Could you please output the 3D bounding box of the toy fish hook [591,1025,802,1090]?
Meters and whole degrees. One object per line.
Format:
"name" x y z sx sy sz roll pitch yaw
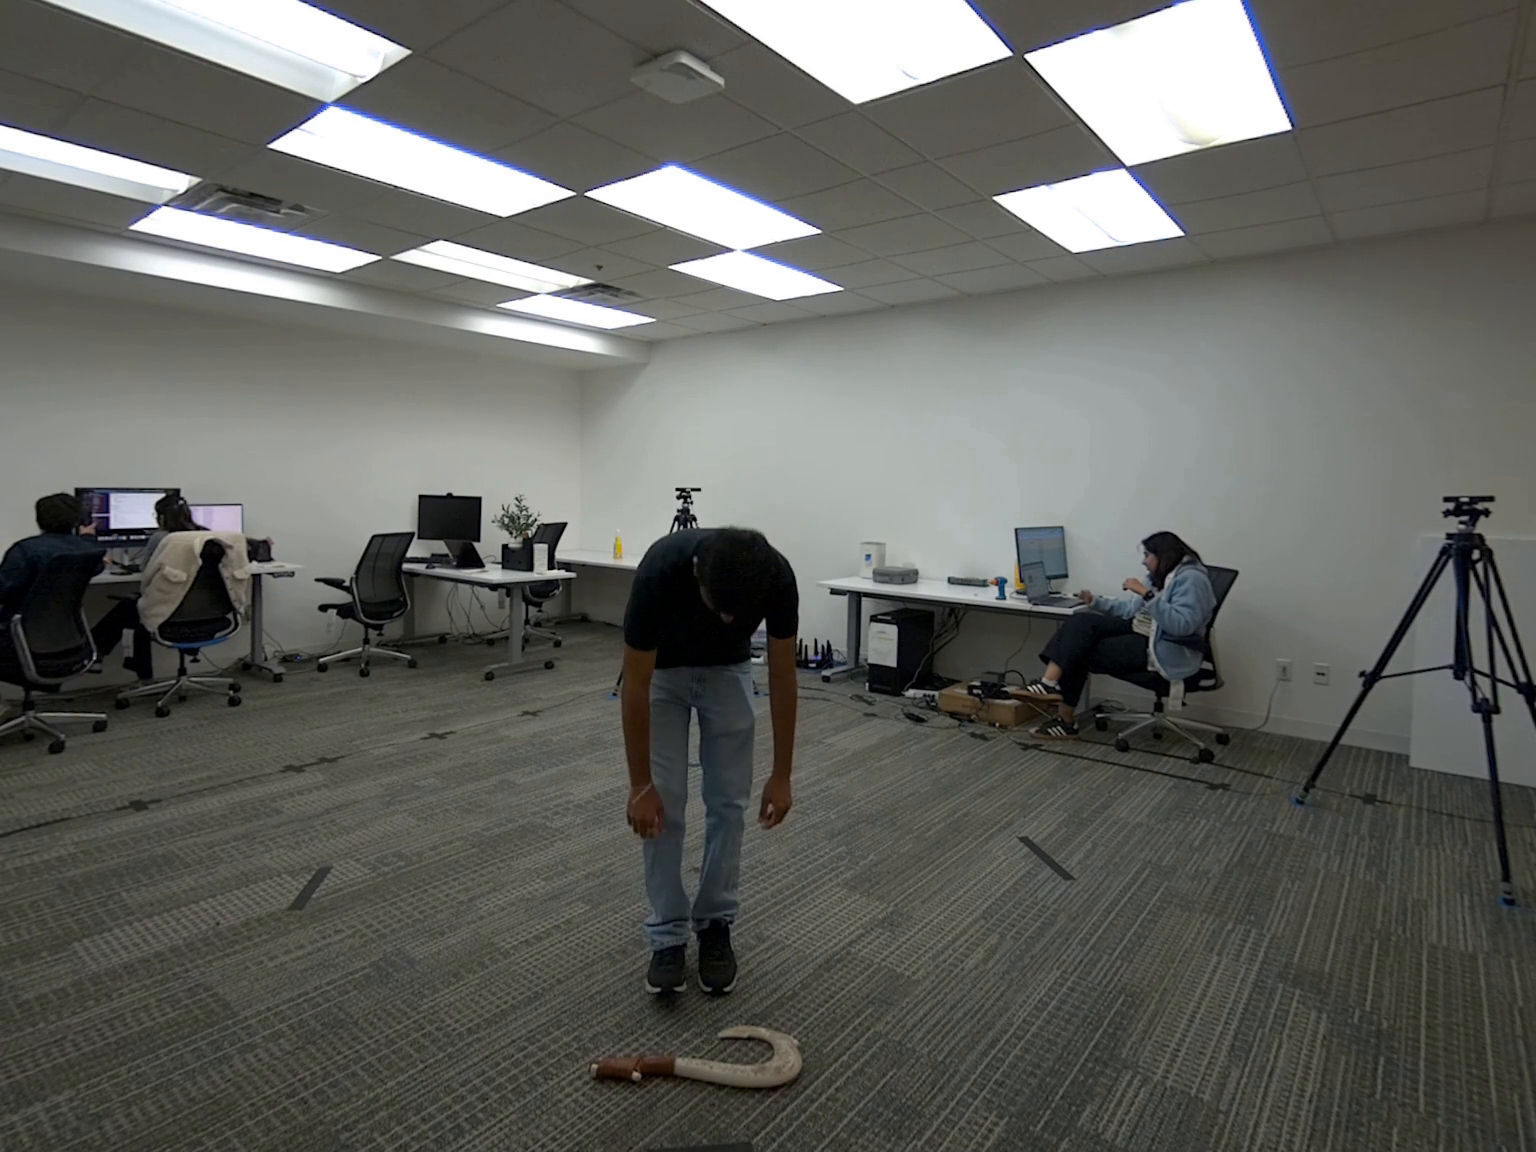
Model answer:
"toy fish hook" -0.178 1.156 2.066 0.505 0.048 0.225 1 -1 -3
